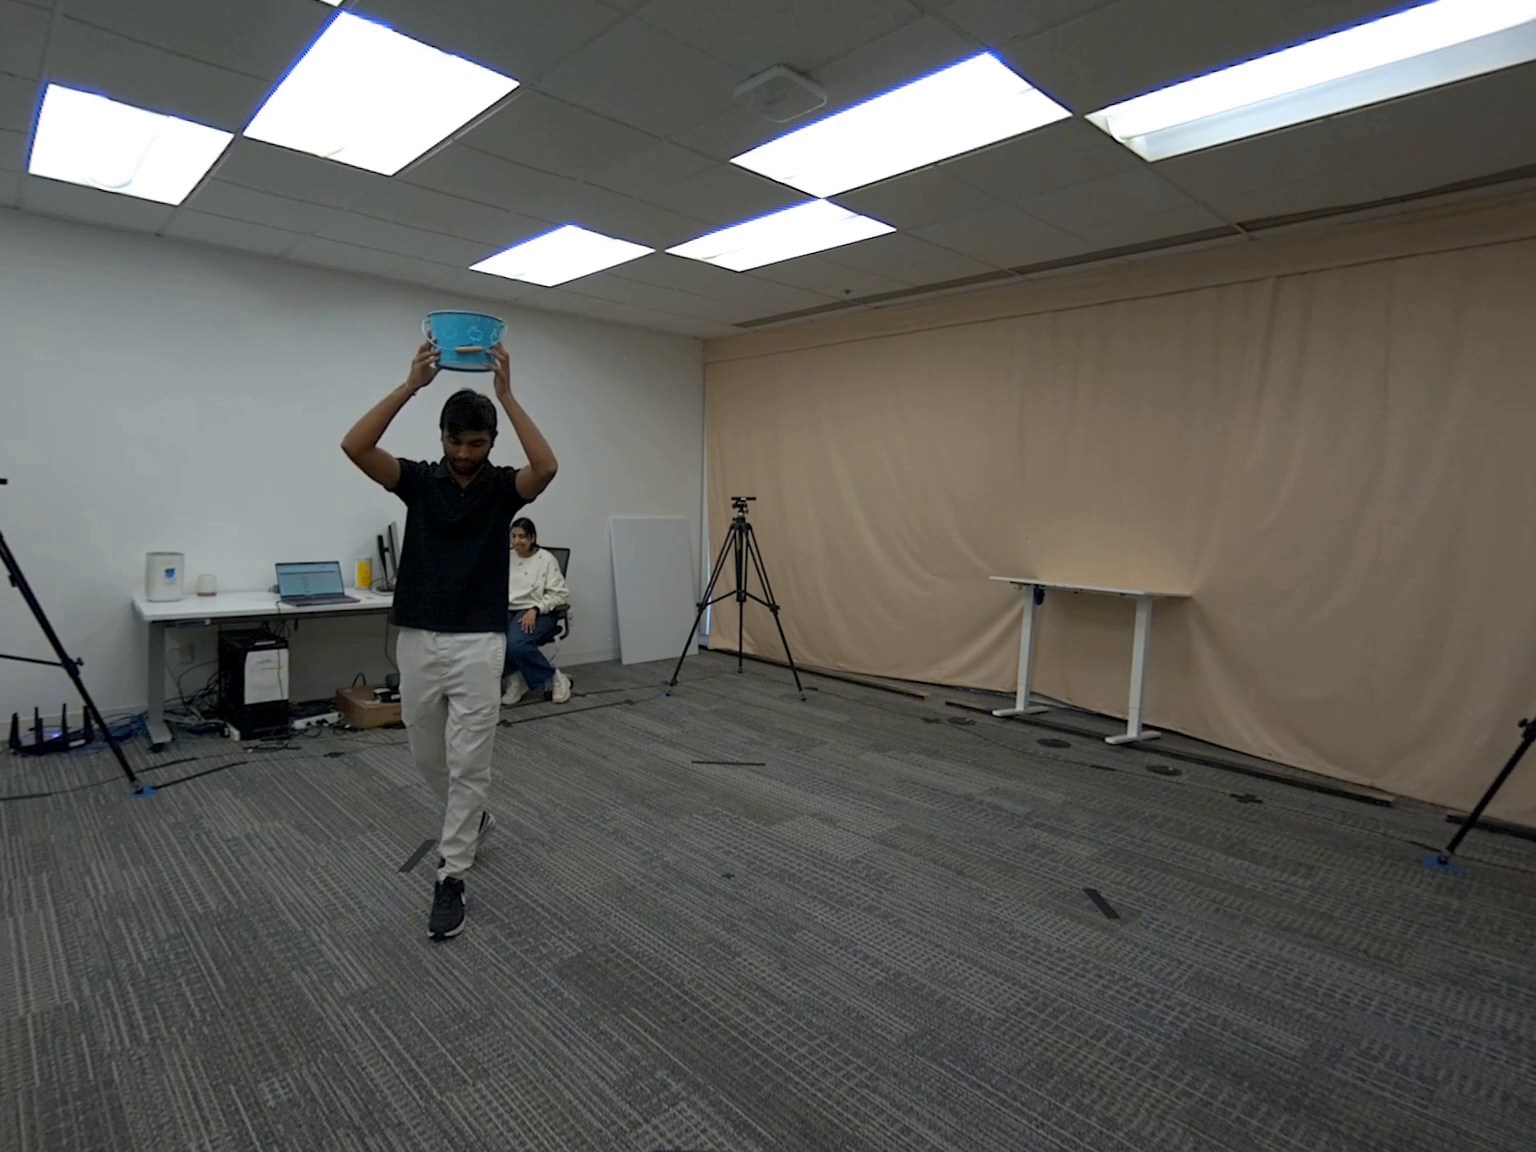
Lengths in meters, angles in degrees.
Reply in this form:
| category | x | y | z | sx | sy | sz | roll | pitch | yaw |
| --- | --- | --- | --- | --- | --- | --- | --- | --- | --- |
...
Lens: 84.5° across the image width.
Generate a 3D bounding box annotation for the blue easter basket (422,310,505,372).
| category | x | y | z | sx | sy | sz | roll | pitch | yaw |
| --- | --- | --- | --- | --- | --- | --- | --- | --- | --- |
| blue easter basket | -0.974 | -0.731 | 2.634 | 0.243 | 0.155 | 0.245 | 0 | 6 | -1 |
